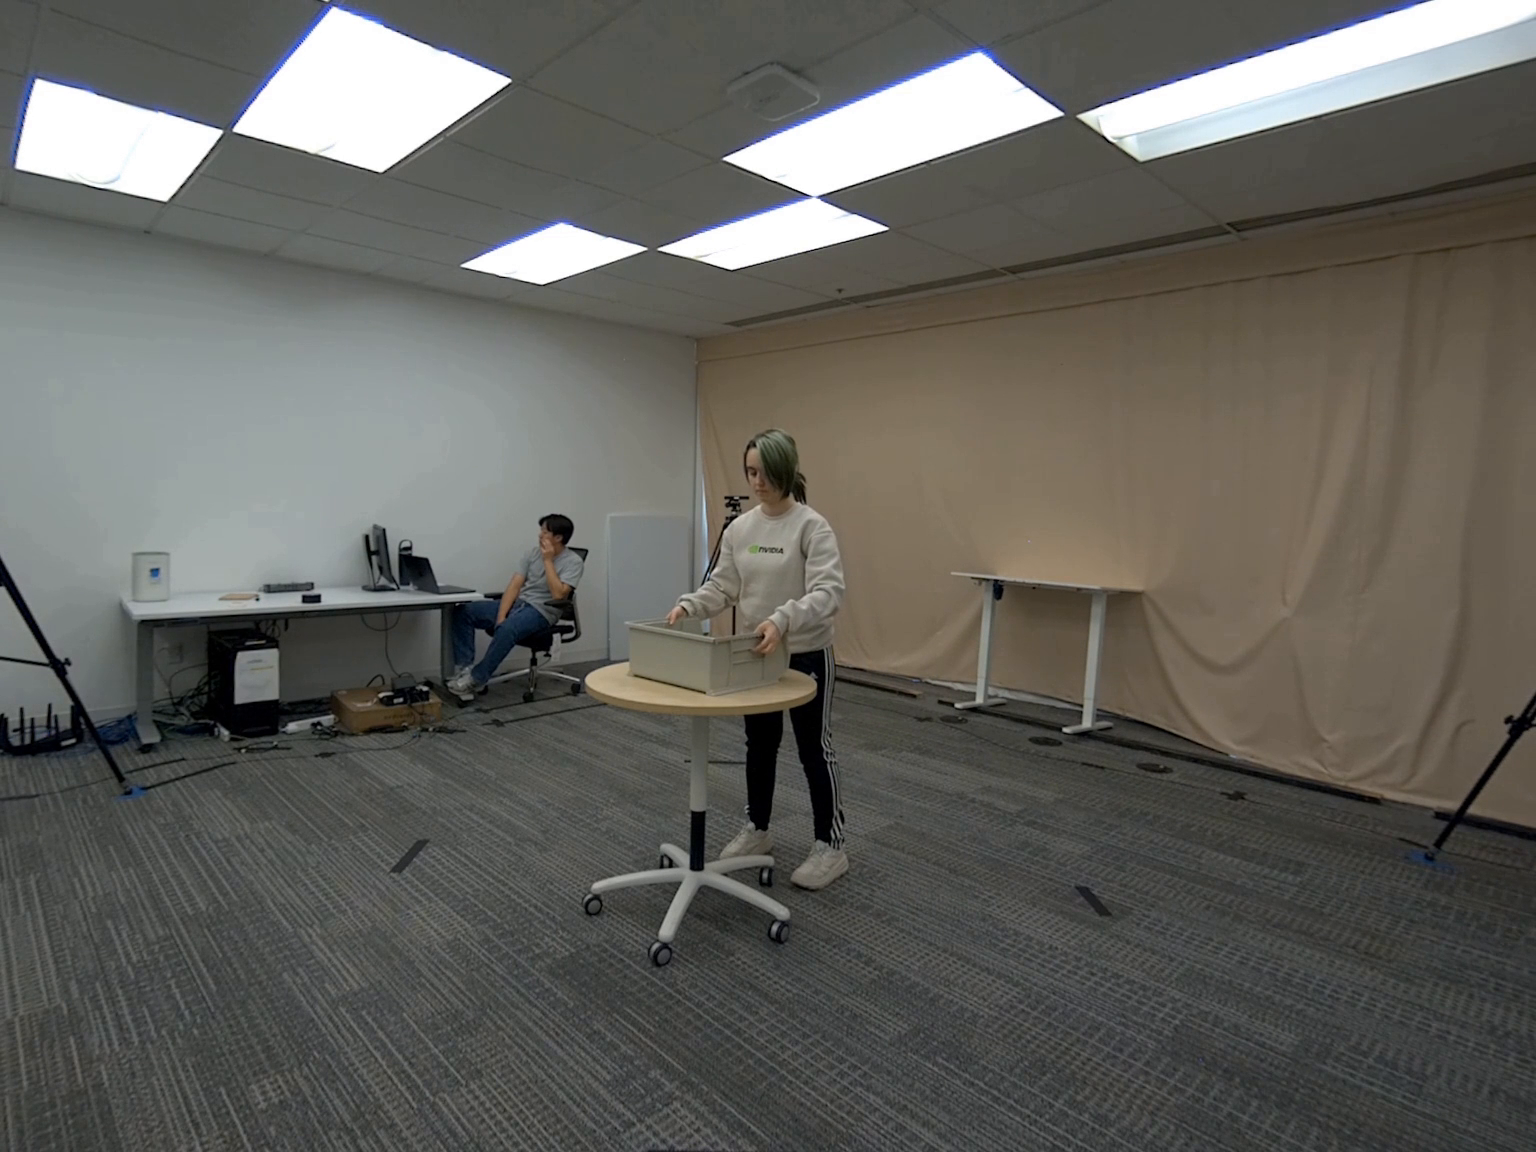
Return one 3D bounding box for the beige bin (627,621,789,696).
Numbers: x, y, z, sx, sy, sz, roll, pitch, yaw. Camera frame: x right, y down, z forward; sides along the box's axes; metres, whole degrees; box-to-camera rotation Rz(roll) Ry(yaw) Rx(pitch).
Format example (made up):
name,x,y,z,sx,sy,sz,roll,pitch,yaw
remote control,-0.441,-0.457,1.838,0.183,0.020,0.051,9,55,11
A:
name,x,y,z,sx,sy,sz,roll,pitch,yaw
beige bin,-0.208,0.254,2.814,0.433,0.188,0.369,6,8,42
